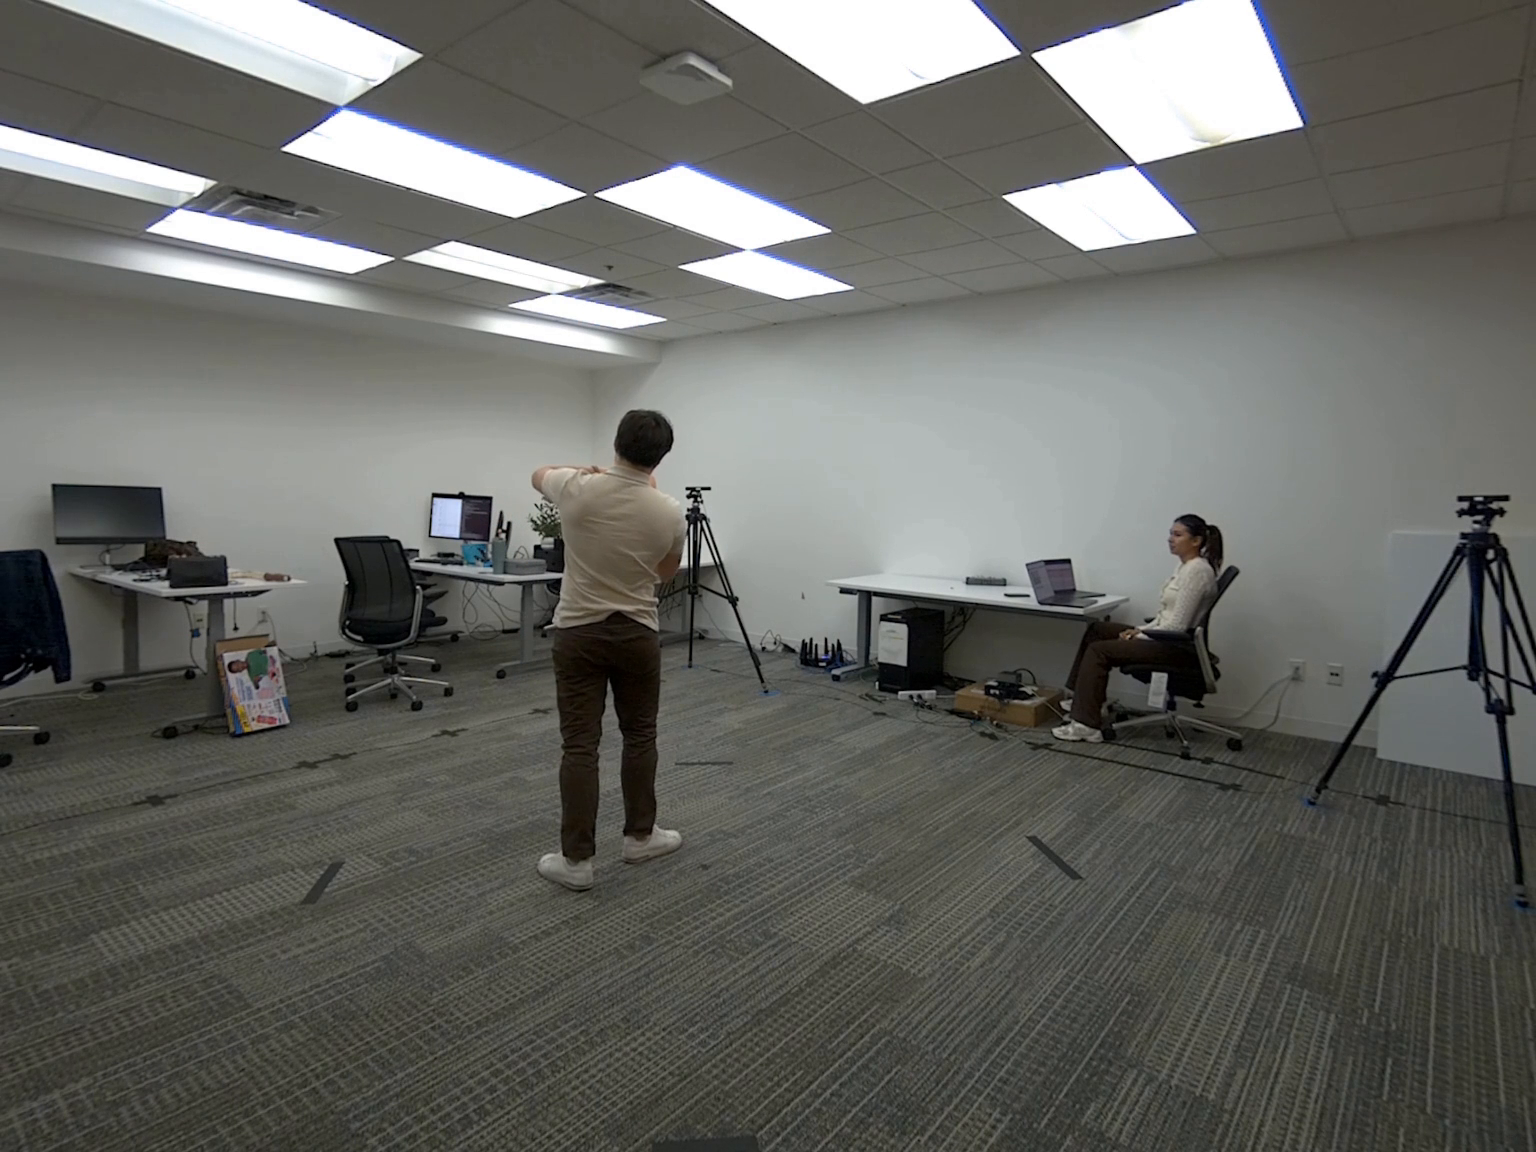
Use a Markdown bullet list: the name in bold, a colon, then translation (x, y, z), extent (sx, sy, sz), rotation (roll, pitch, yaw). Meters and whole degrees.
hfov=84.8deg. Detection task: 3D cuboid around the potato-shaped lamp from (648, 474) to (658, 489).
- **potato-shaped lamp**: translation (-0.531, -0.351, 3.356), extent (0.167, 0.202, 0.166), rotation (-29, -56, 37)
